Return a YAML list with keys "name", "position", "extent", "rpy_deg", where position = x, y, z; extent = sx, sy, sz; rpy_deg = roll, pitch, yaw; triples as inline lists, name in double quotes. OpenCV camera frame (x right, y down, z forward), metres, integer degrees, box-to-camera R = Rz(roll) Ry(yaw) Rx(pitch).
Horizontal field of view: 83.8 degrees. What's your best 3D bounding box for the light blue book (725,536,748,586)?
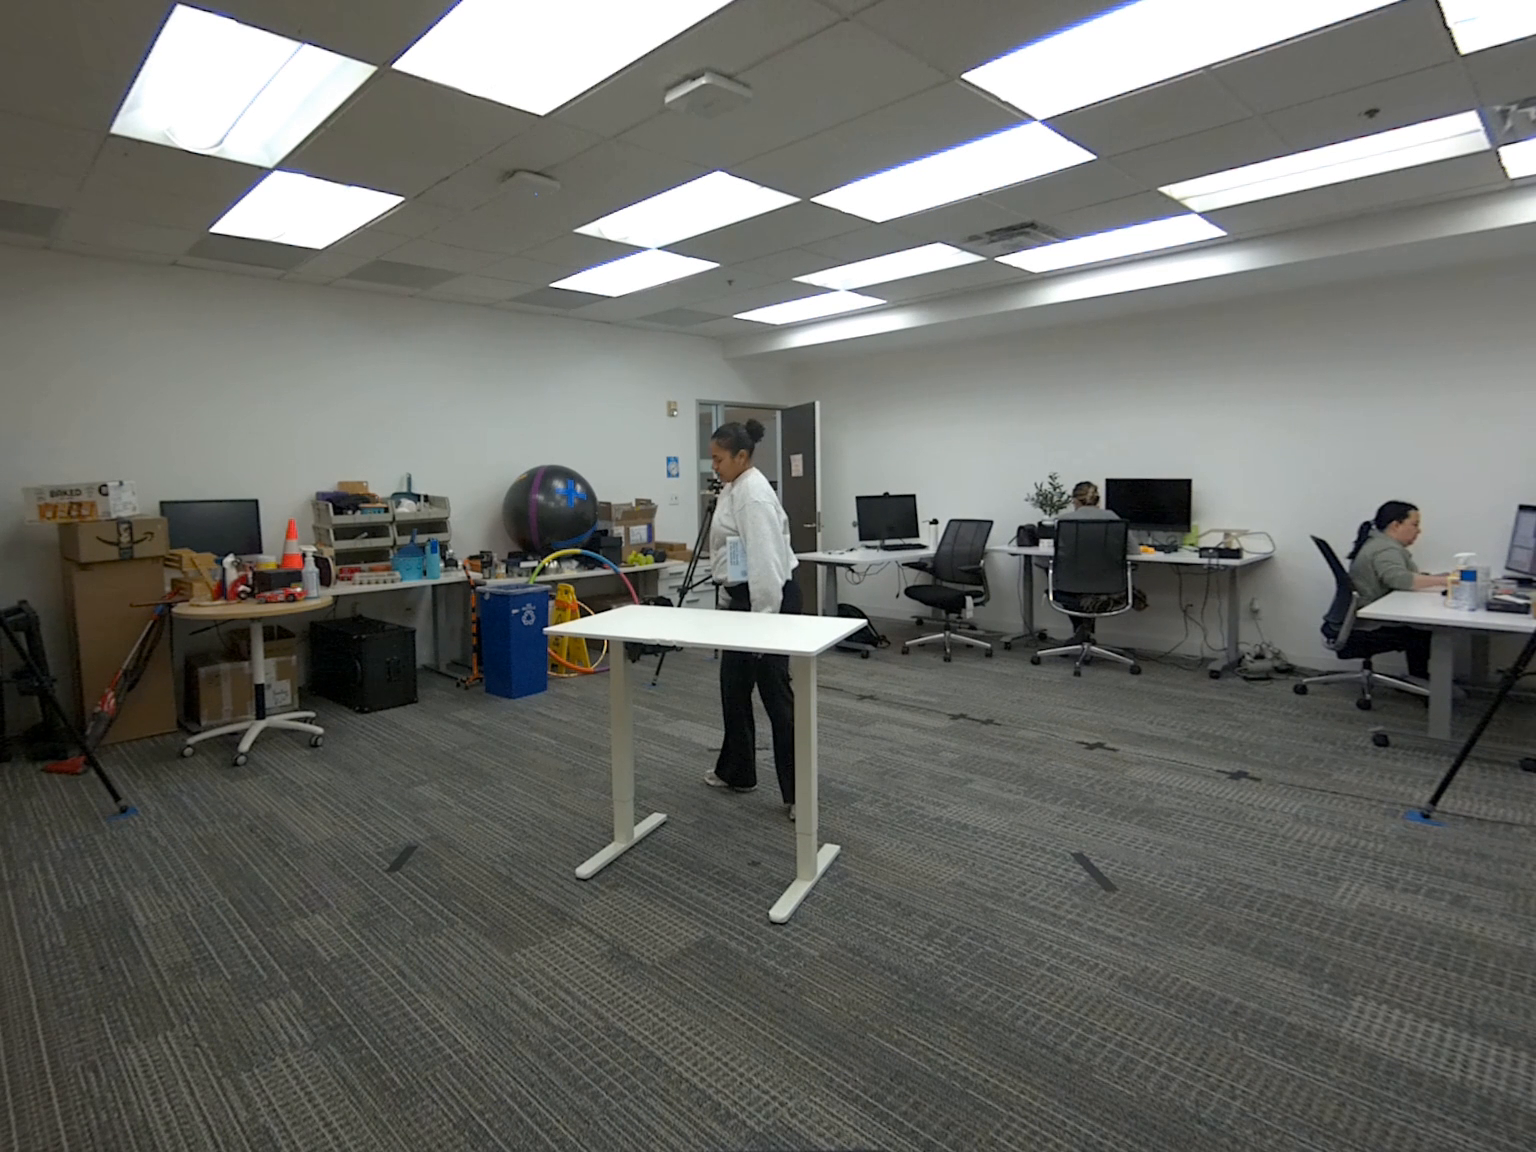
- name: "light blue book"
  position: [-0.048, -0.078, 3.538]
  extent: [0.260, 0.192, 0.059]
  rpy_deg: [-3, -5, -2]
